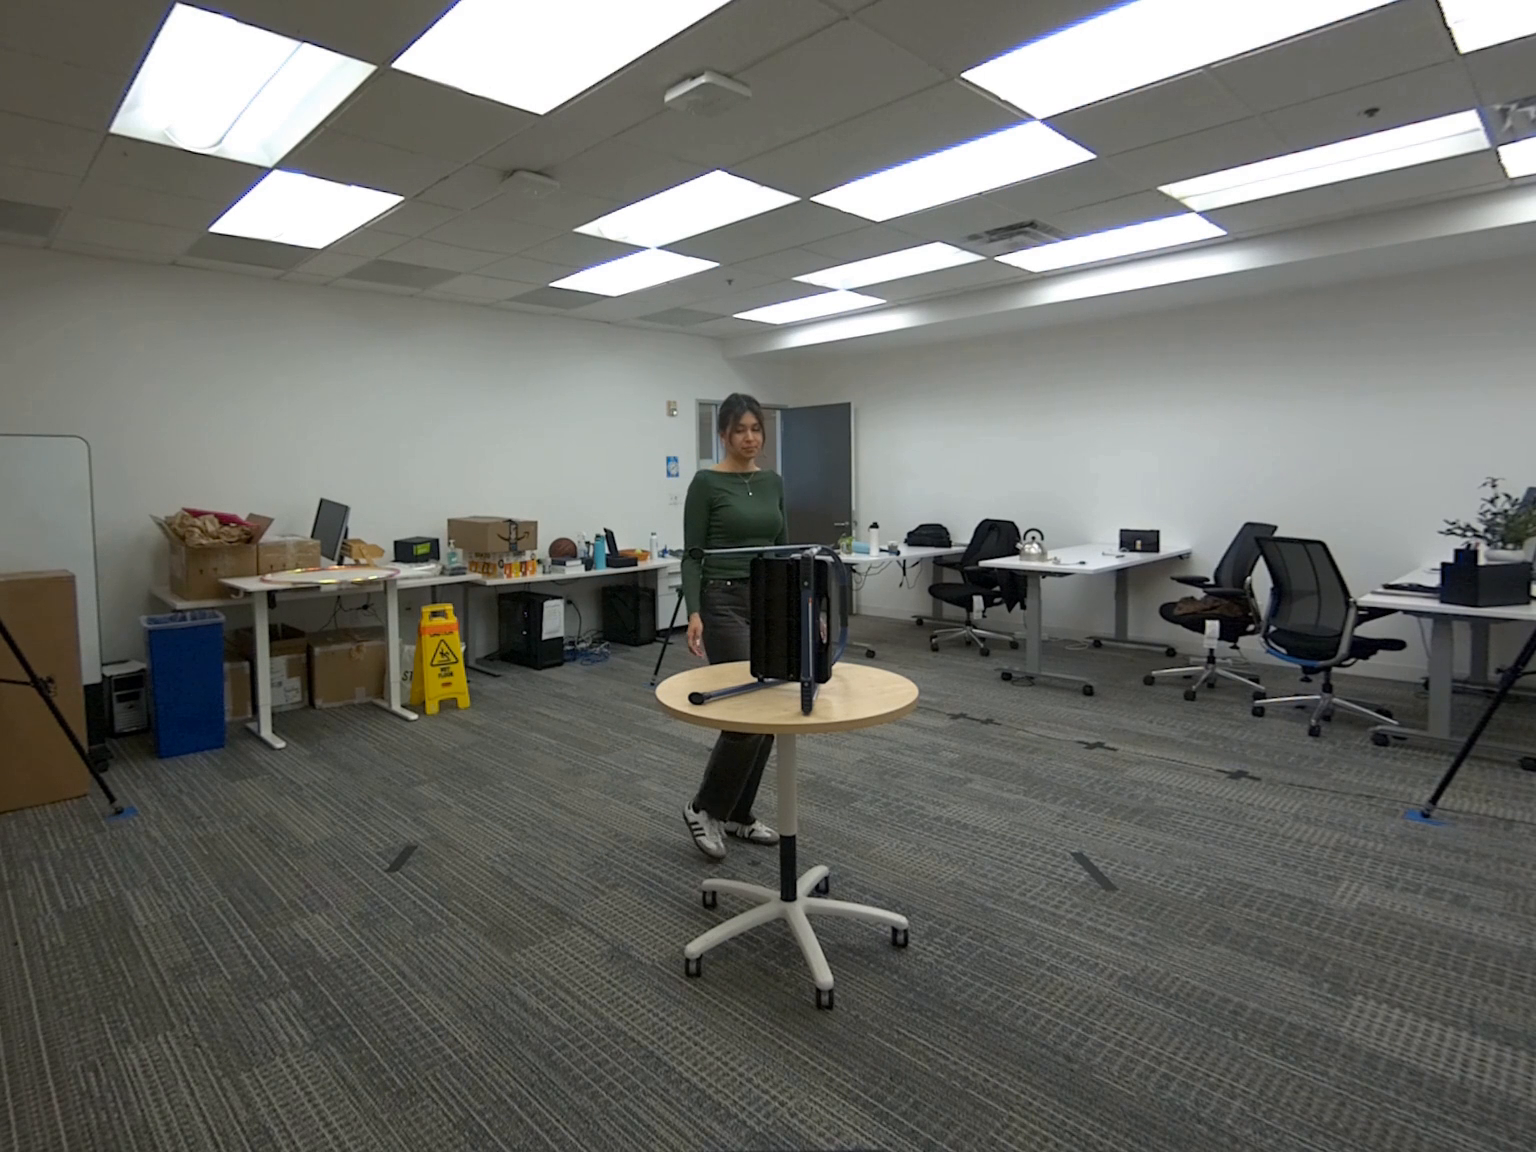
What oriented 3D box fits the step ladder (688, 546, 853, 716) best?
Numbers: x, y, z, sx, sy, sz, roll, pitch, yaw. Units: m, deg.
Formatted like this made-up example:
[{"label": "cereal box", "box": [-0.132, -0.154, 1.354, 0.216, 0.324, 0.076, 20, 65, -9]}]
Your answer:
[{"label": "step ladder", "box": [0.062, 0.119, 2.525, 0.357, 0.429, 0.595, 3, 6, 23]}]
